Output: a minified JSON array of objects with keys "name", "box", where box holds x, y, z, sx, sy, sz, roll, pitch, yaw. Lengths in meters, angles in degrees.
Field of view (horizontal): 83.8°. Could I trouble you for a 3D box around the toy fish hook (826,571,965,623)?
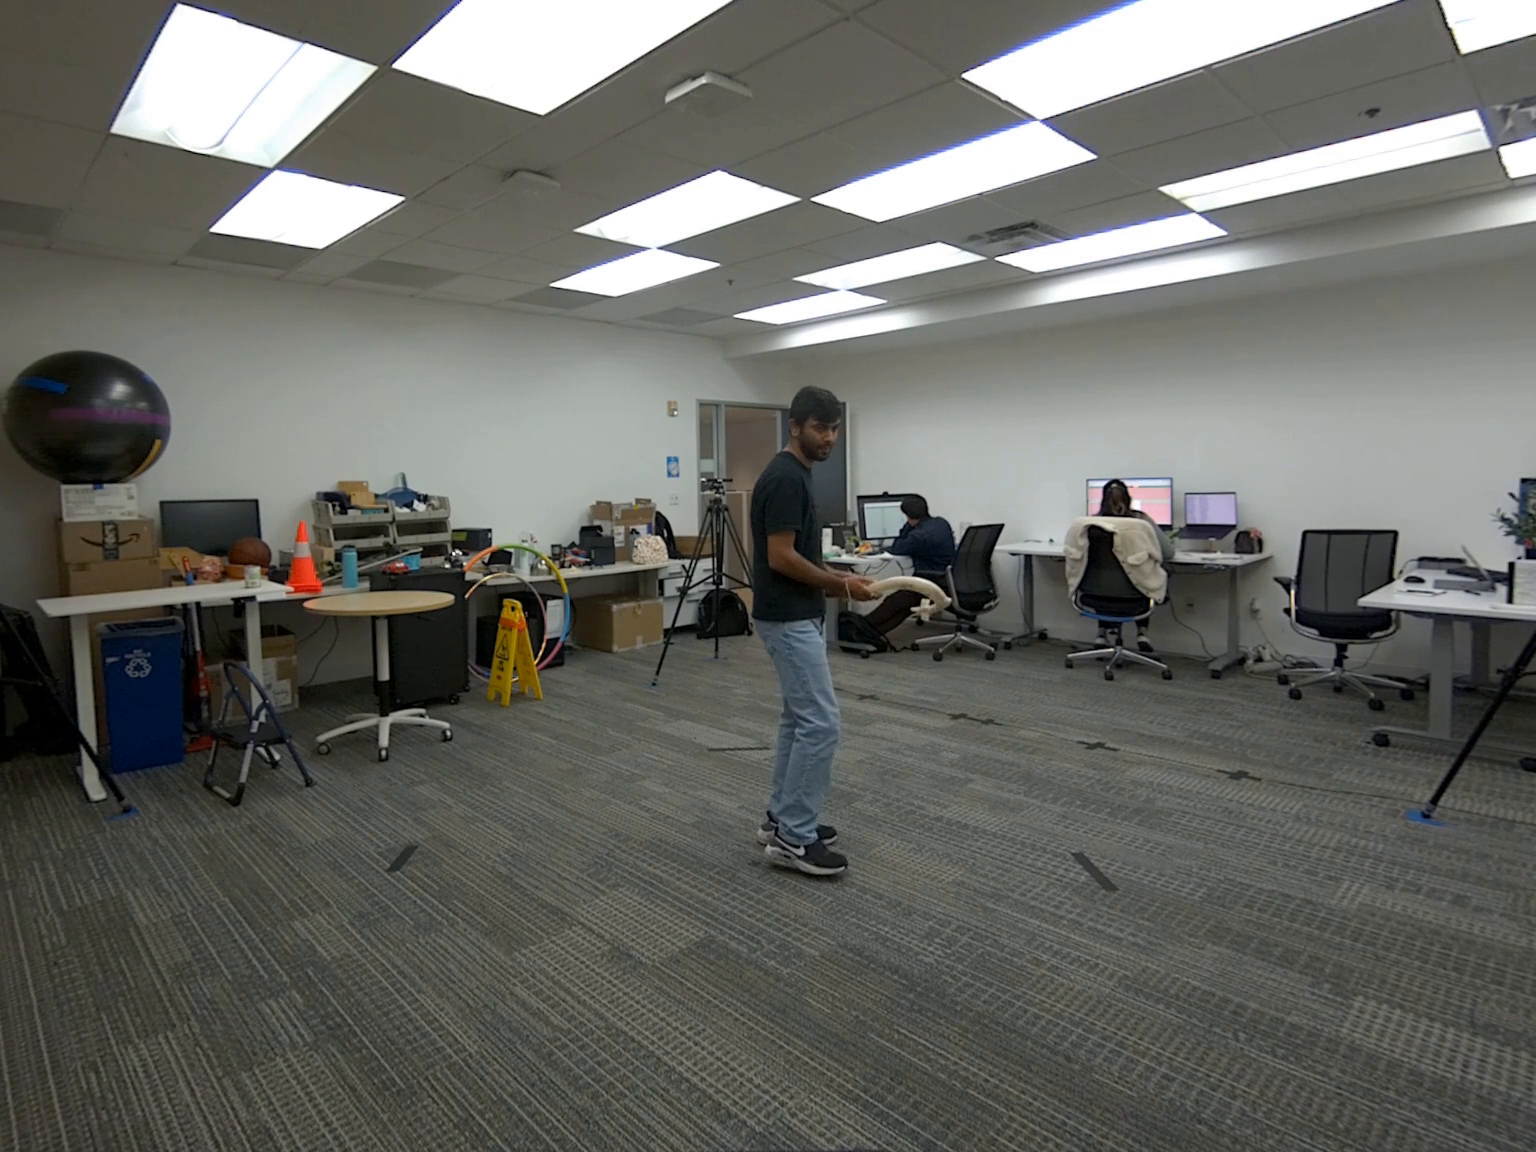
[{"name":"toy fish hook","box":[0.421,0.082,3.064,0.217,0.049,0.519,41,-28,-30]}]
